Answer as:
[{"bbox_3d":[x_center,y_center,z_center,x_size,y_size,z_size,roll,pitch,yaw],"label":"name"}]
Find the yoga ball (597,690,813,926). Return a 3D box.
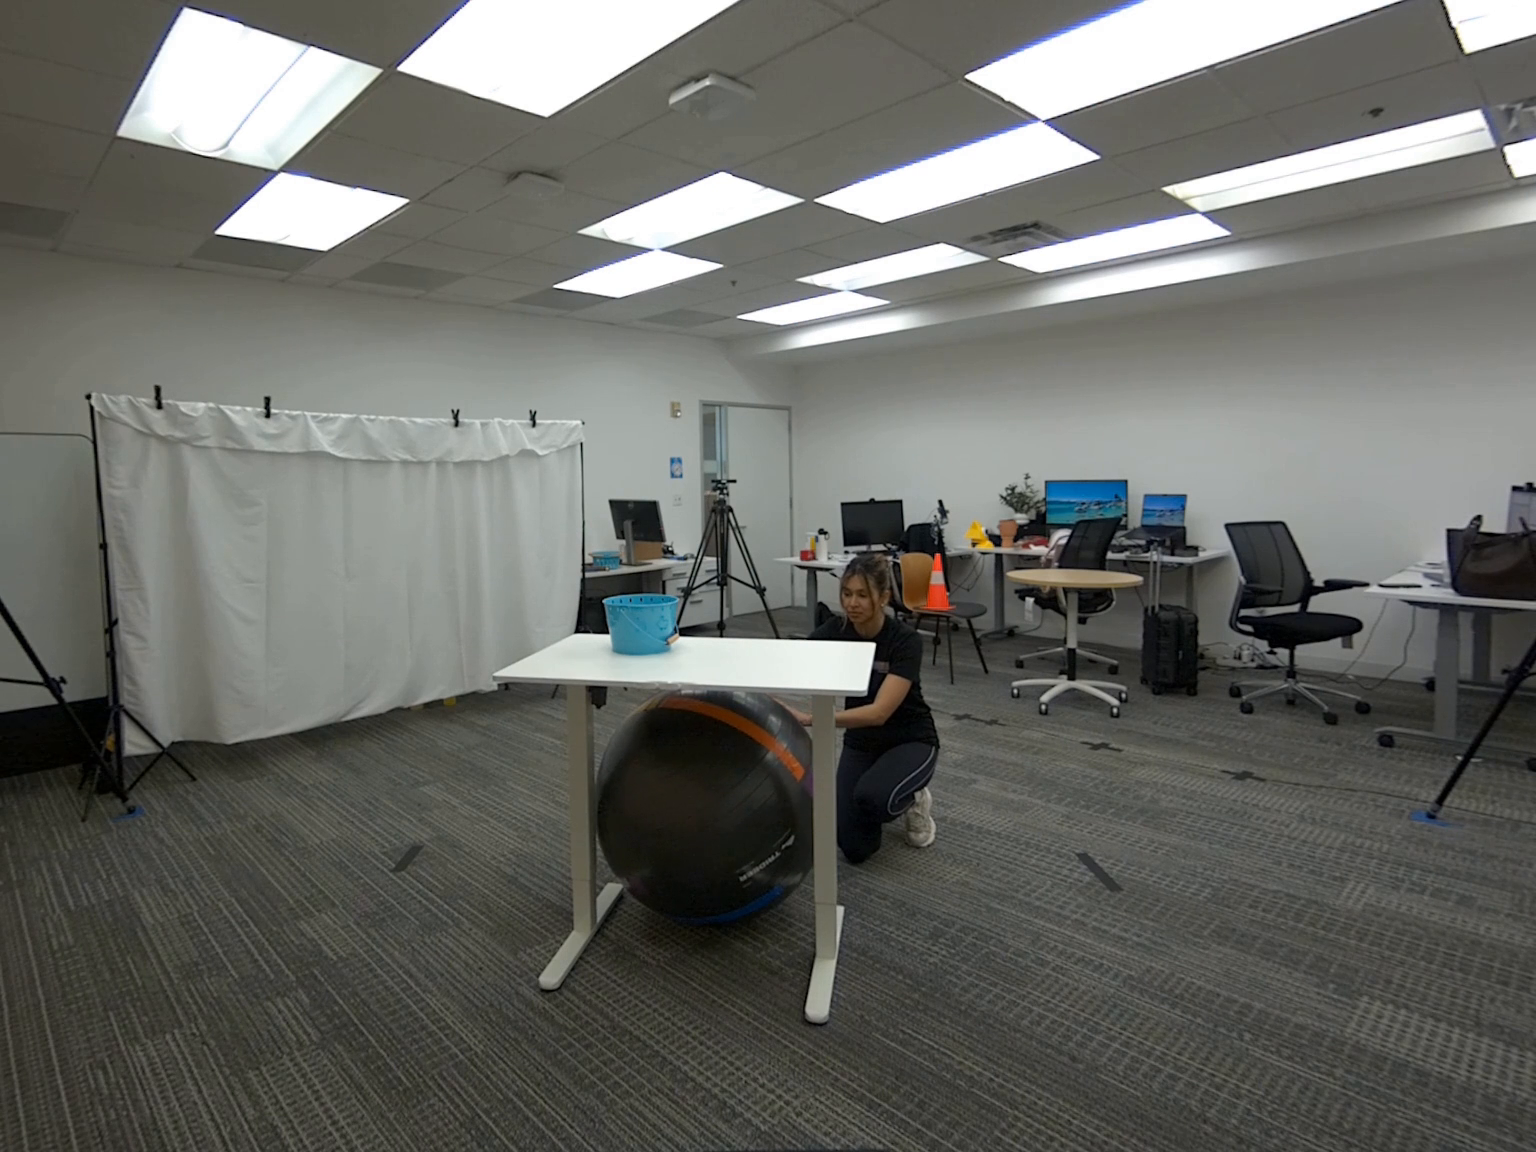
[{"bbox_3d":[-0.187,0.735,2.758,0.757,0.755,0.762,-1,5,-2],"label":"yoga ball"}]
